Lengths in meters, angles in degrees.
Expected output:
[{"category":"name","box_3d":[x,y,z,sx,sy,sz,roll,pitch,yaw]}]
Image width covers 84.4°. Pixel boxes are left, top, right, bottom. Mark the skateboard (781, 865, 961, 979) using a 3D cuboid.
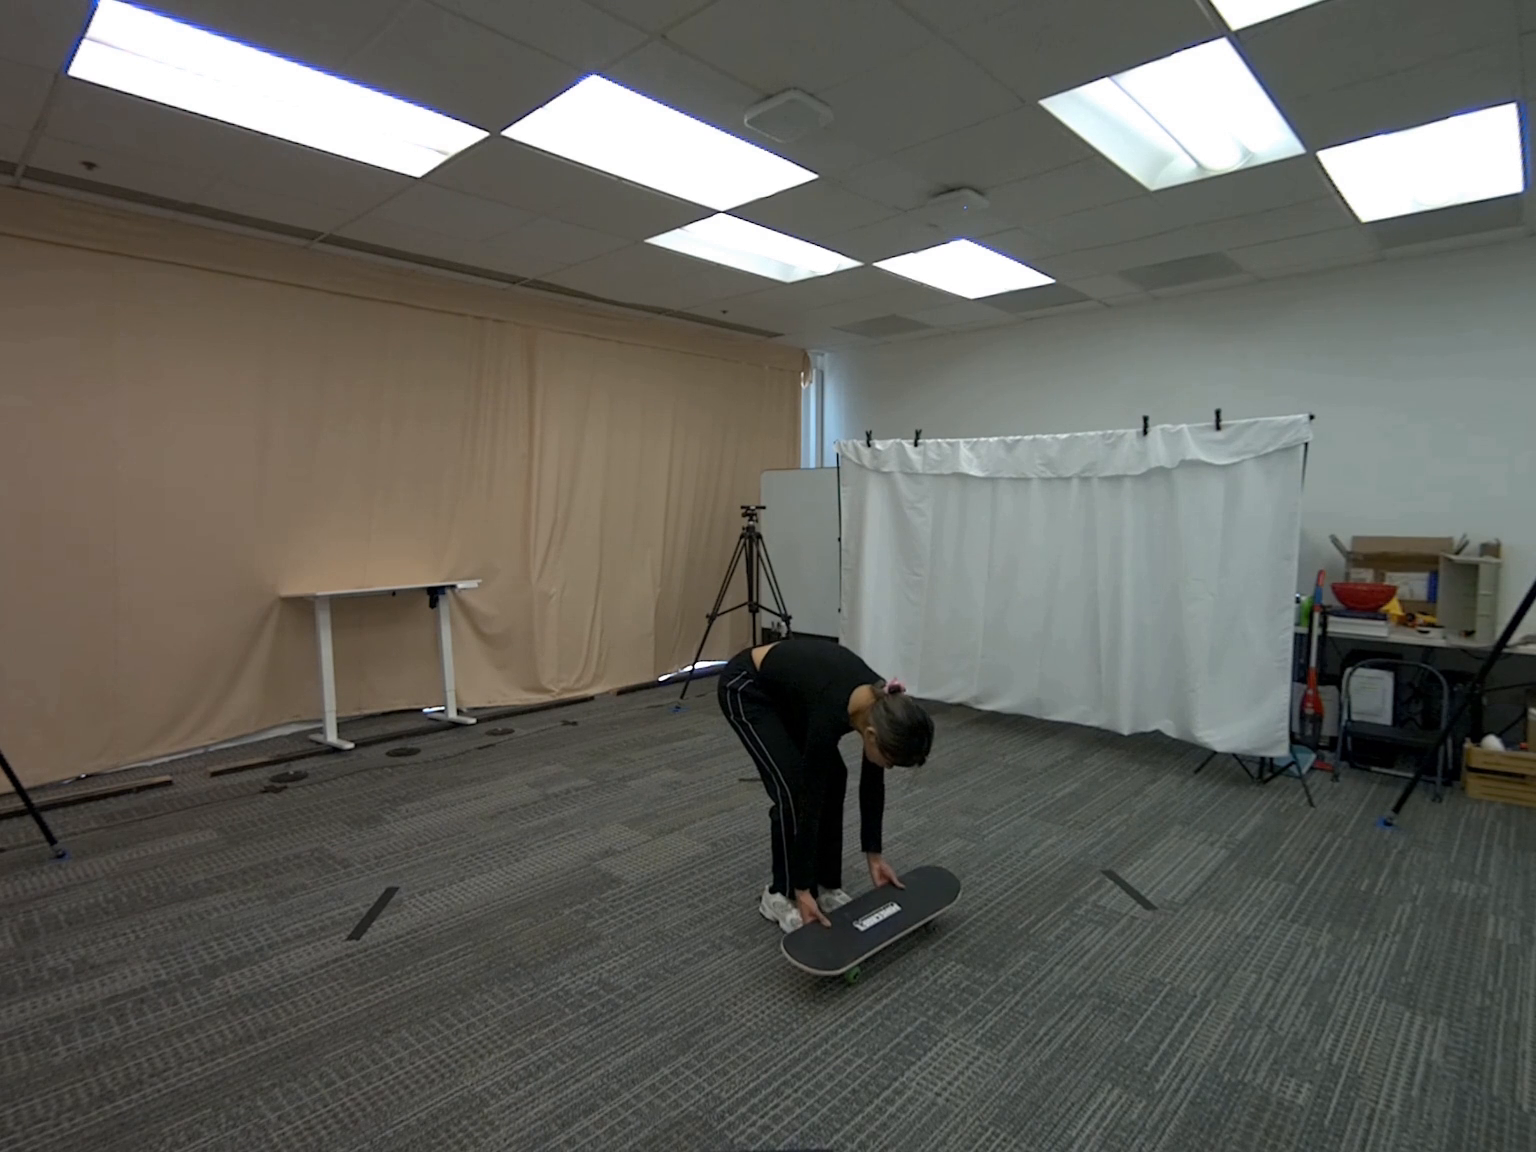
[{"category":"skateboard","box_3d":[0.350,1.089,2.603,0.762,0.109,0.201,-6,19,-42]}]
